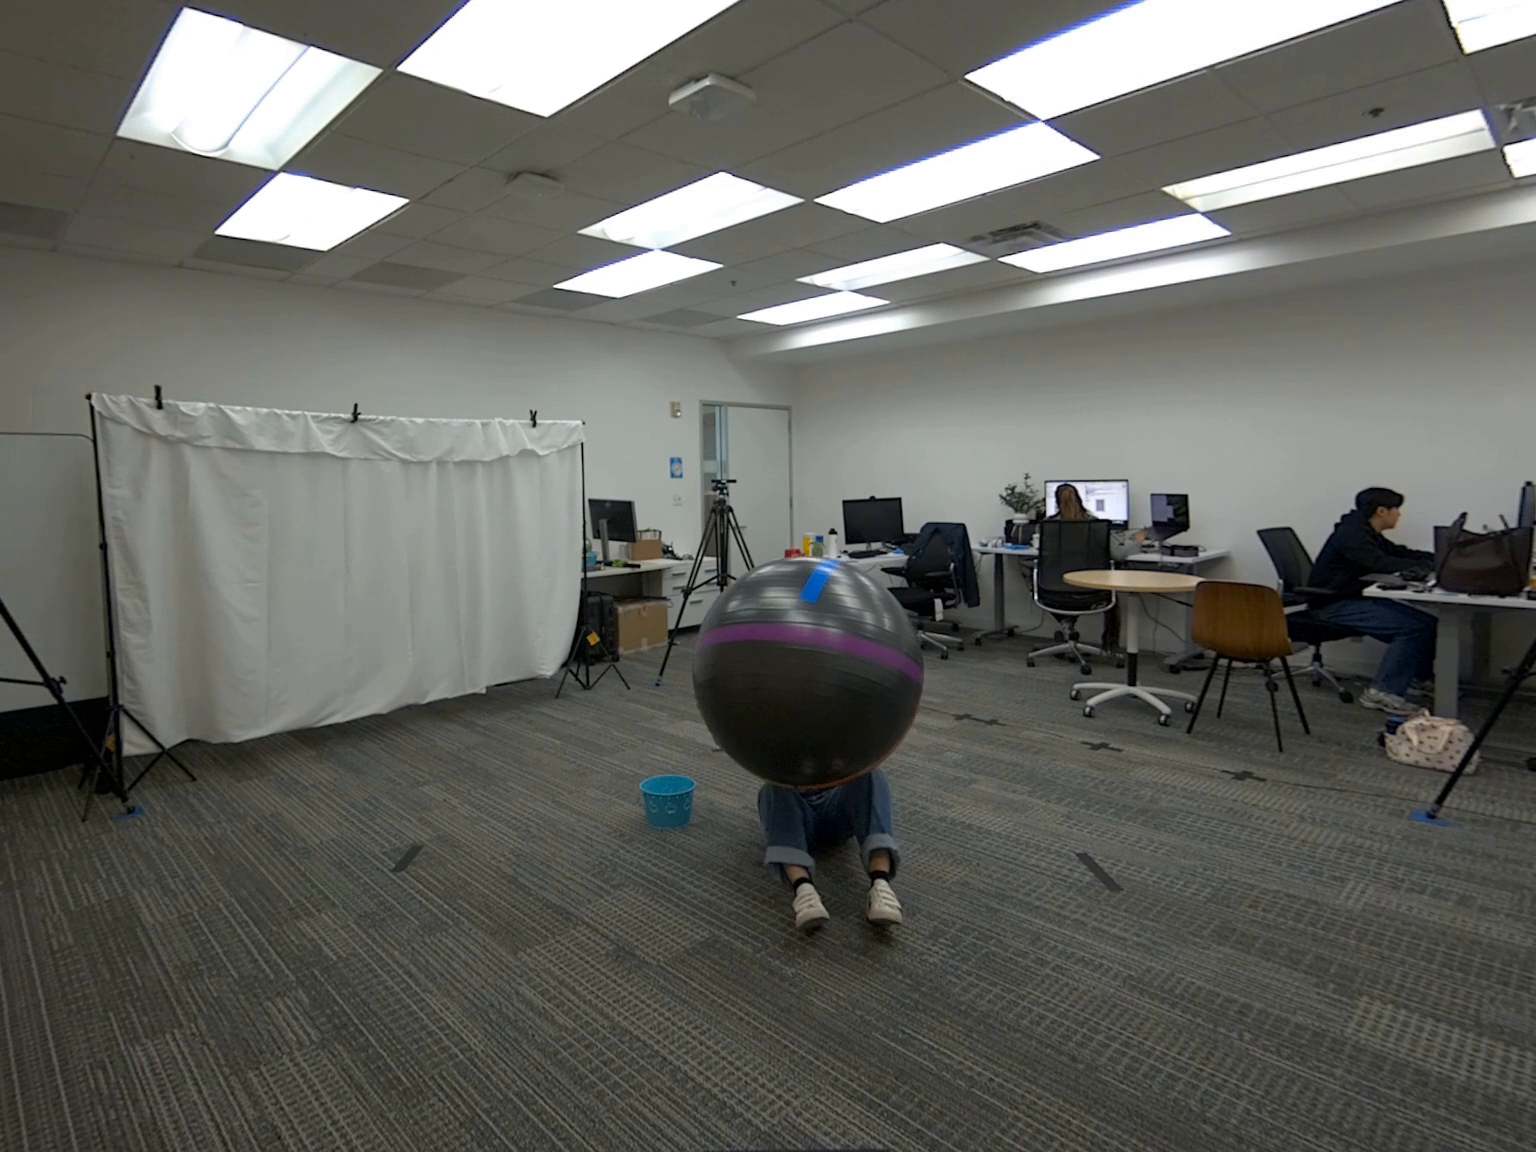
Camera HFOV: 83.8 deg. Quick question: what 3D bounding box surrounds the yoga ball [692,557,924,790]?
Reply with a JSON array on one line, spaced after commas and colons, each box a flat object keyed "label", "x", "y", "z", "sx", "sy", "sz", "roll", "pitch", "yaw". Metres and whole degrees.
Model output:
[{"label": "yoga ball", "x": 0.146, "y": 0.319, "z": 2.839, "sx": 0.757, "sy": 0.755, "sz": 0.762, "roll": -1, "pitch": 5, "yaw": -2}]
